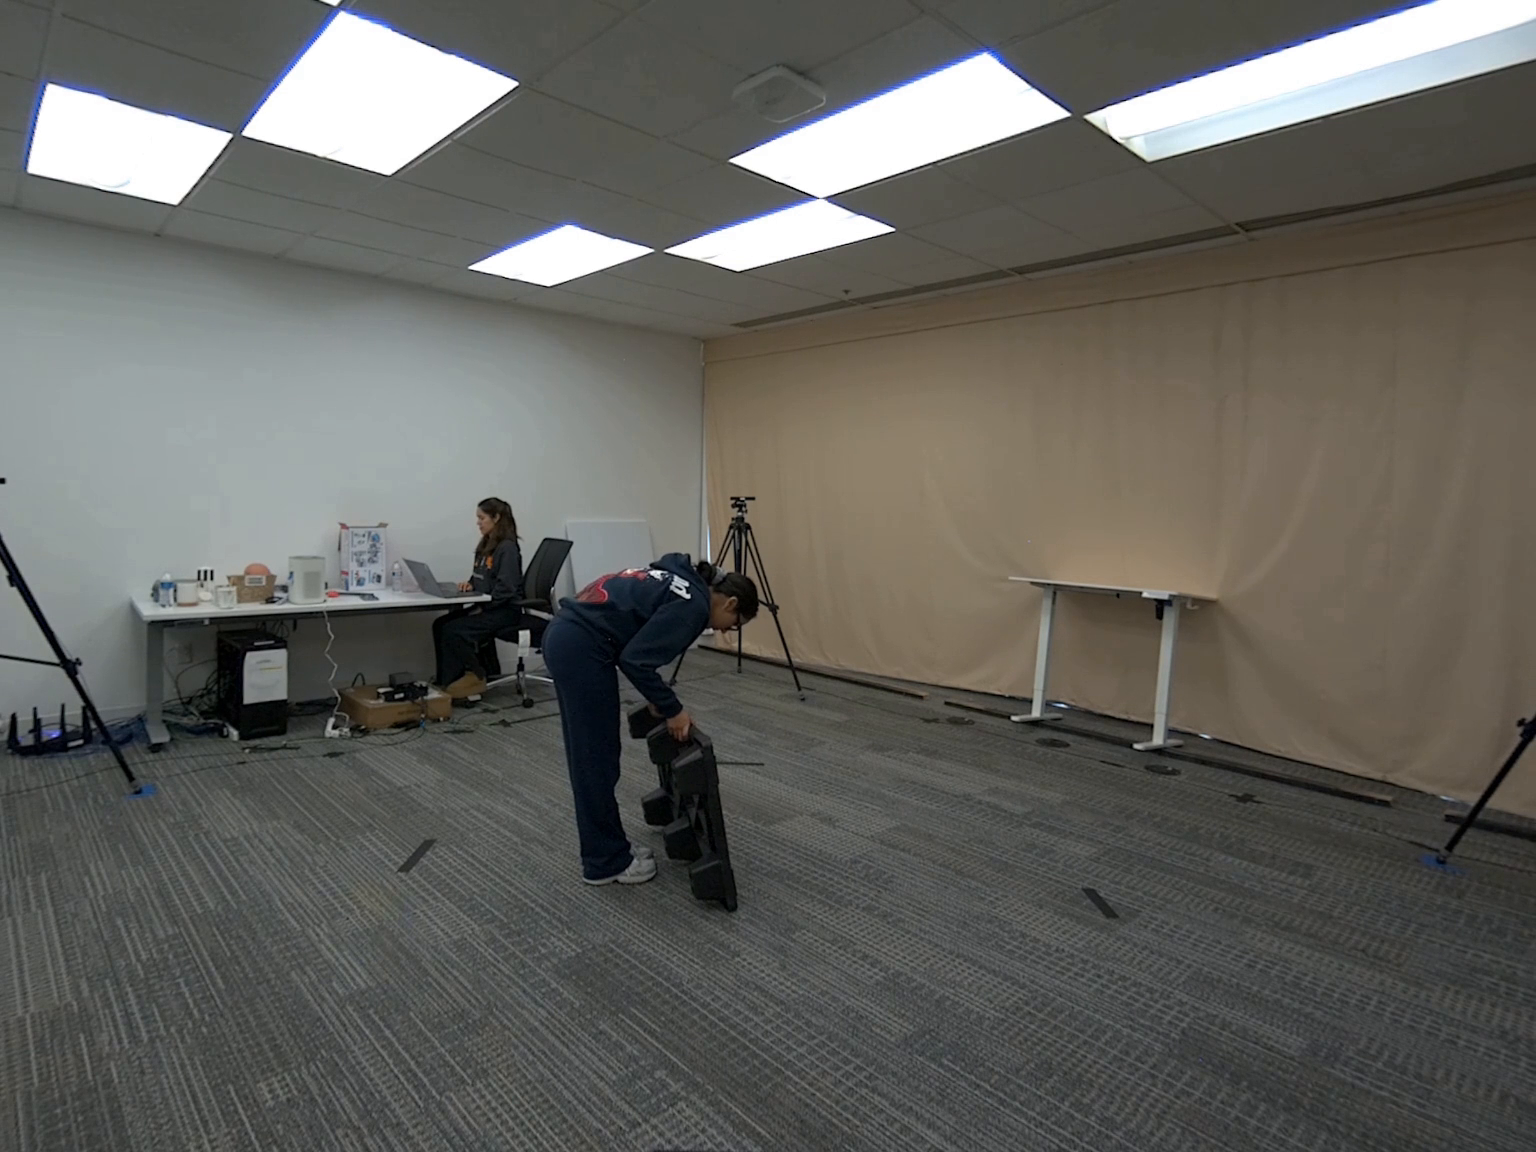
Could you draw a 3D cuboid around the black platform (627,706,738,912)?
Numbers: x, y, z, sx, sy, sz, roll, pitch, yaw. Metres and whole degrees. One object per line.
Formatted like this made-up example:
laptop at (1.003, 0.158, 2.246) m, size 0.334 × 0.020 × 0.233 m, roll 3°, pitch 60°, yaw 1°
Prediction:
black platform at (-0.354, 0.813, 3.154) m, size 0.141 × 0.602 × 0.820 m, roll -11°, pitch 8°, yaw -20°
